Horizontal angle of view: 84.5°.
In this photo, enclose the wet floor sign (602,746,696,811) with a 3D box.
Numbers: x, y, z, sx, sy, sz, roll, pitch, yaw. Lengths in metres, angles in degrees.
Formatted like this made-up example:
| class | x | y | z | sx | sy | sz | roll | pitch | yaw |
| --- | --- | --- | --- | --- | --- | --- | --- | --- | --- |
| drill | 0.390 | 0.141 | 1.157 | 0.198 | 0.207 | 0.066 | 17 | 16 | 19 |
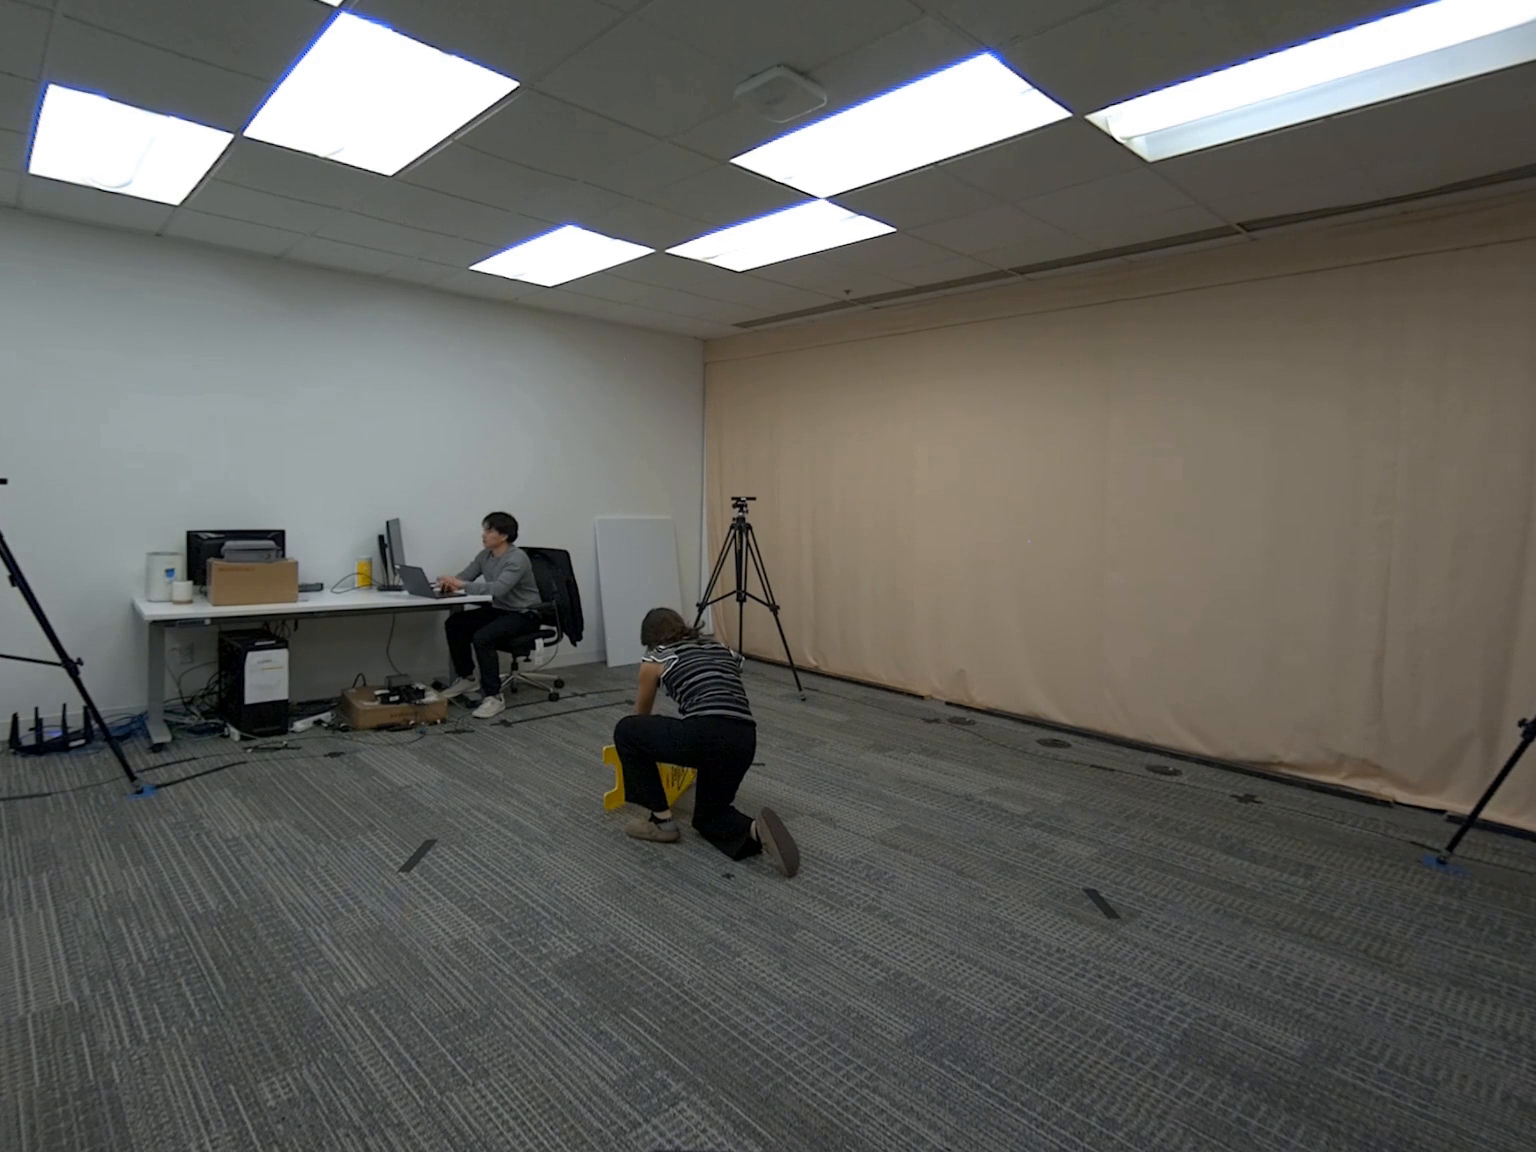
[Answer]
| class | x | y | z | sx | sy | sz | roll | pitch | yaw |
| --- | --- | --- | --- | --- | --- | --- | --- | --- | --- |
| wet floor sign | -0.473 | 0.875 | 3.899 | 0.295 | 0.281 | 0.635 | 3 | 5 | 26 |
